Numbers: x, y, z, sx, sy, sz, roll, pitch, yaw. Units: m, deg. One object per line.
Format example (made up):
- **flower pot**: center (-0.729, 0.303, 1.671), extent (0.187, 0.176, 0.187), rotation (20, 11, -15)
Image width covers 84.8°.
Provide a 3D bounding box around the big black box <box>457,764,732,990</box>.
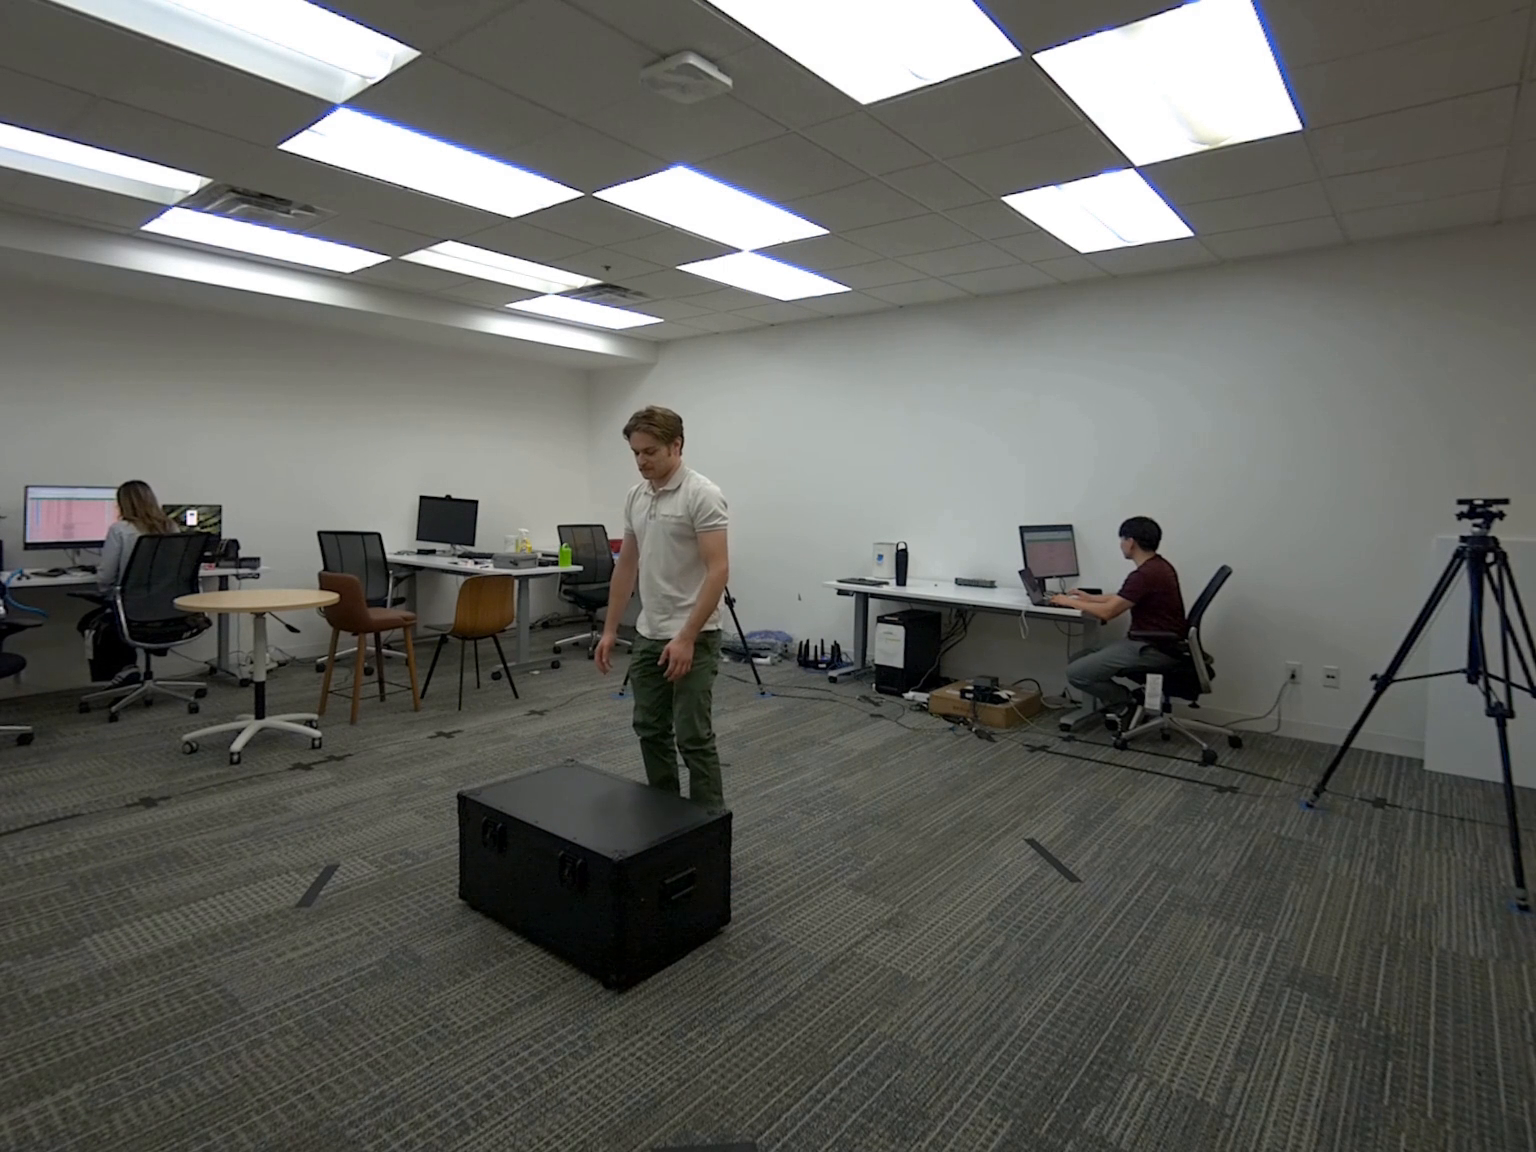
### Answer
- **big black box**: center (-0.601, 0.902, 2.763), extent (0.897, 0.383, 0.509), rotation (5, 7, 39)
